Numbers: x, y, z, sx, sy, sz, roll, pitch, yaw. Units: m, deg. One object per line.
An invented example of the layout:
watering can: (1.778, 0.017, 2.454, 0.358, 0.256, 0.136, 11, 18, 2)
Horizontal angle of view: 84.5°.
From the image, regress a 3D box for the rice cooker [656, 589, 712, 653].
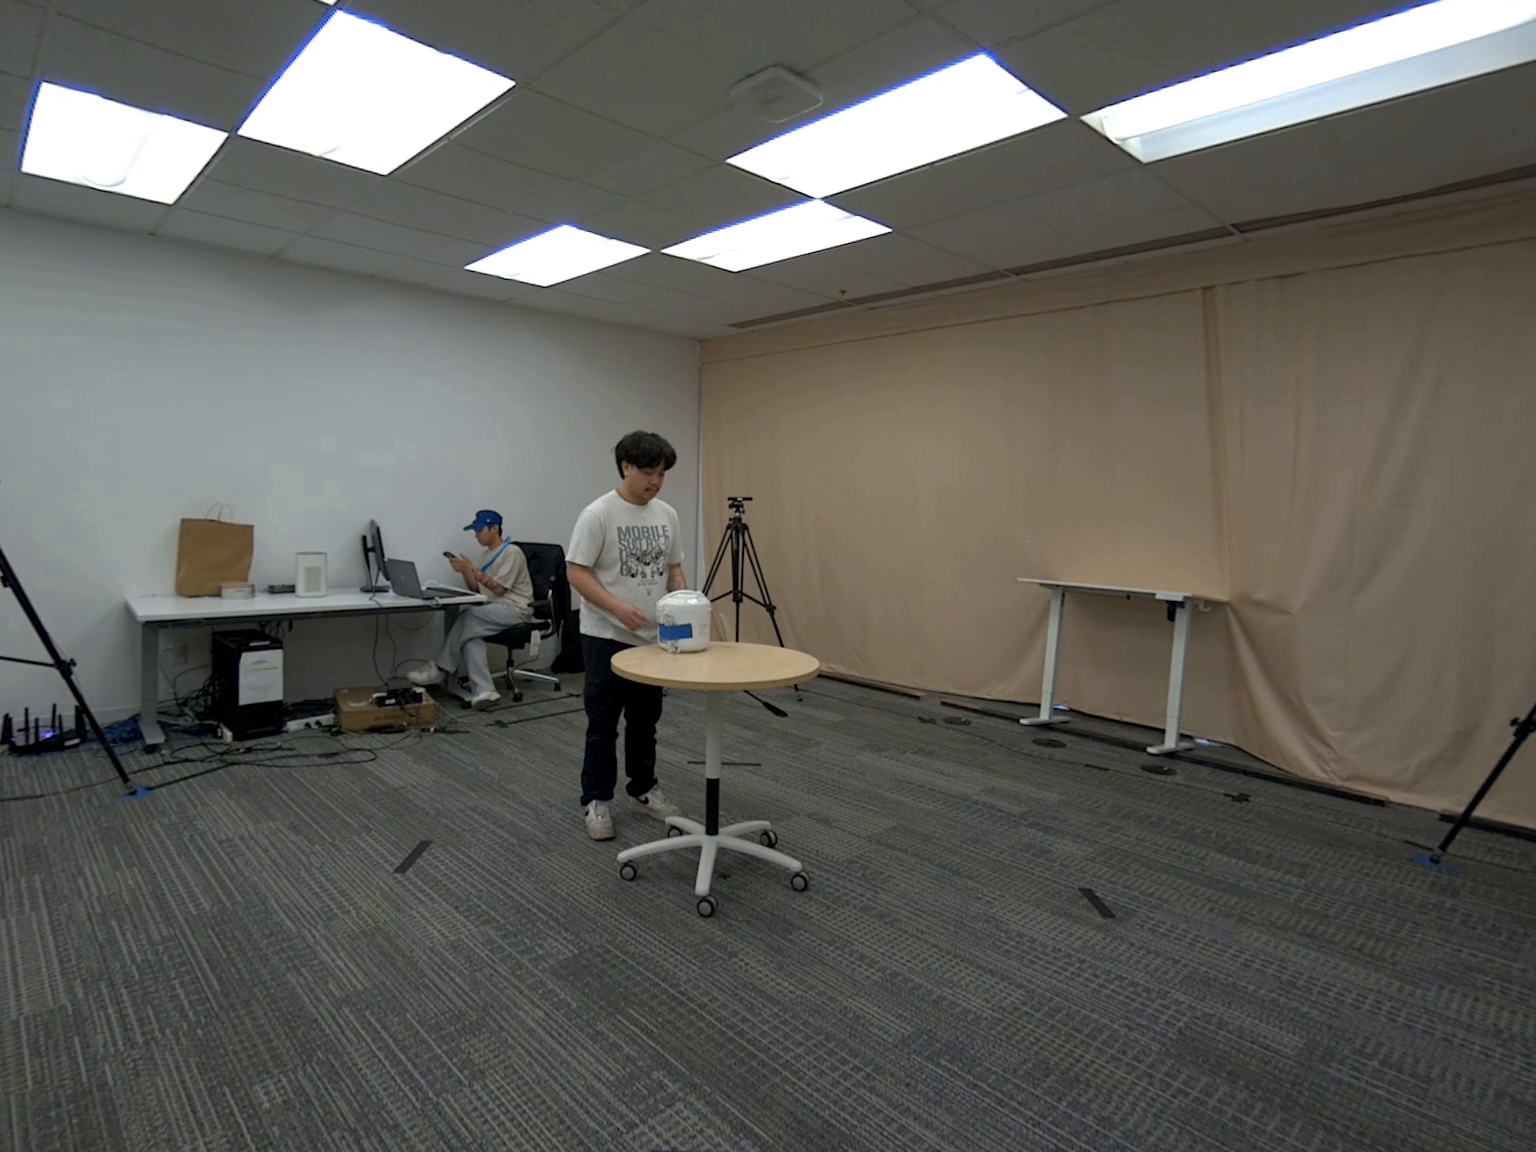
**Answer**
rice cooker: (-0.340, 0.172, 3.302, 0.217, 0.232, 0.222, 0, 4, -23)
